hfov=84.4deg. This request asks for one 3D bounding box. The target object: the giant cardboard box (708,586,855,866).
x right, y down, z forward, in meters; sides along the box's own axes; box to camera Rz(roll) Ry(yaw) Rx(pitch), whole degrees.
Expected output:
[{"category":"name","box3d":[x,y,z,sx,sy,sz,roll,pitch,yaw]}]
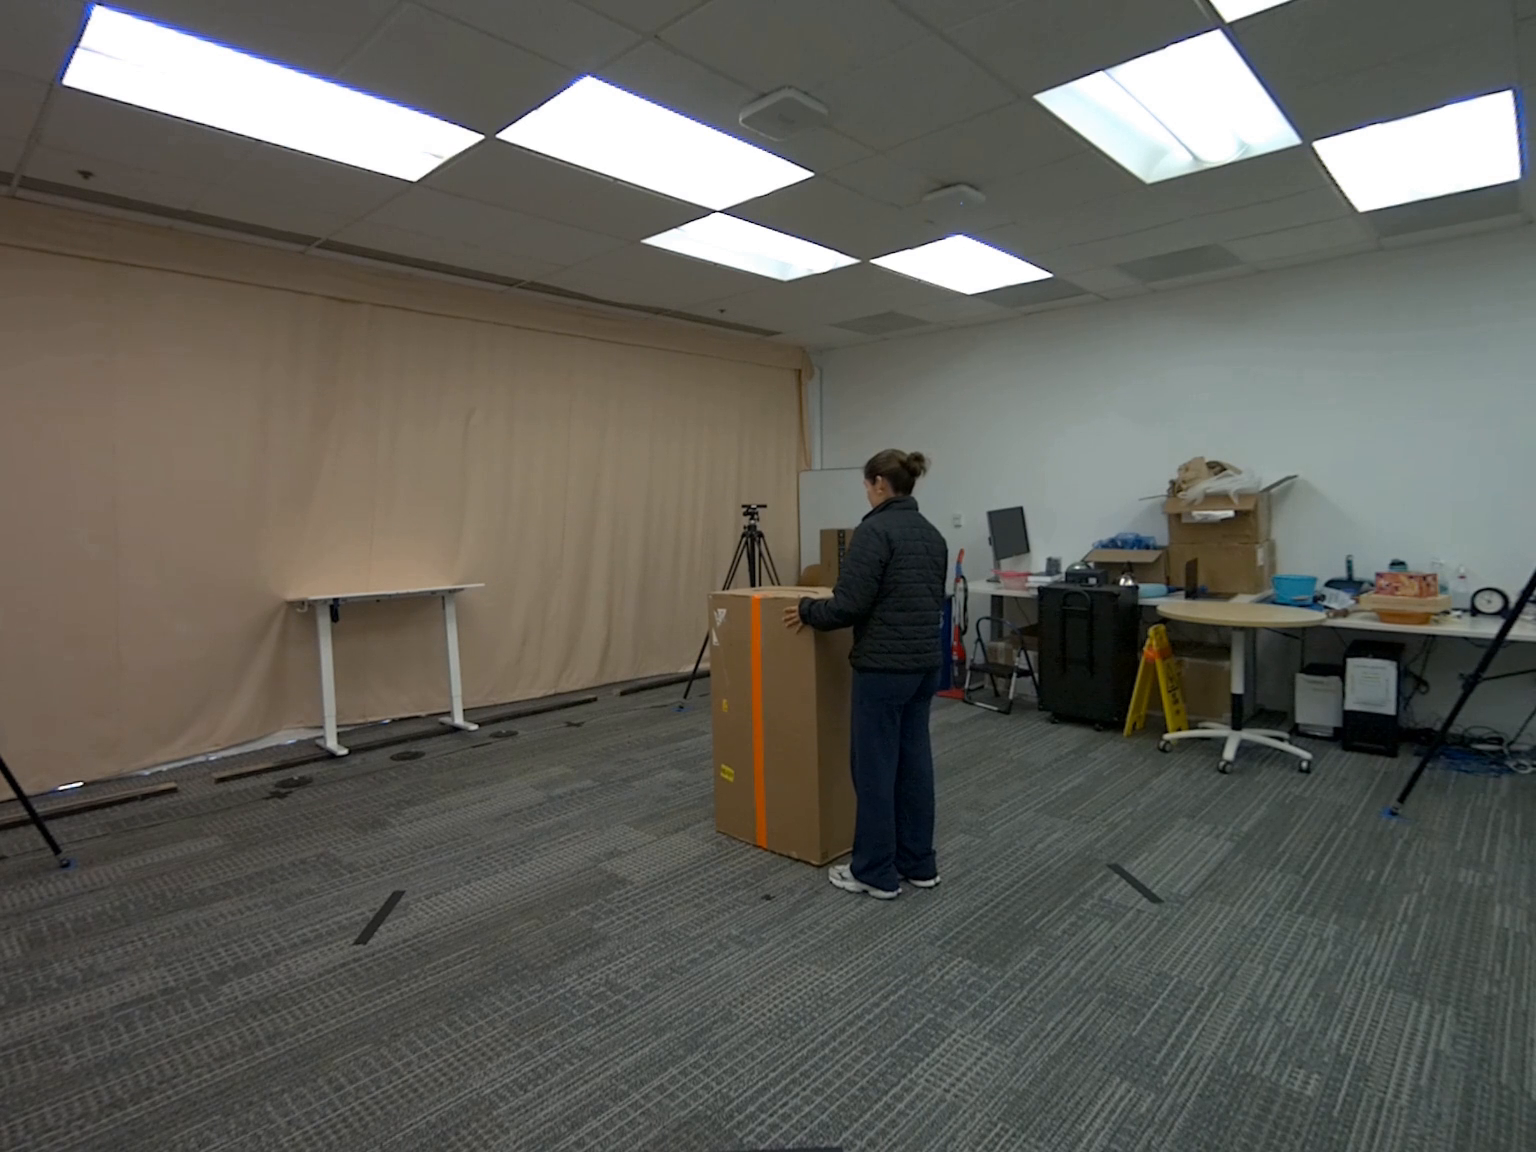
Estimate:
[{"category":"giant cardboard box","box3d":[0.115,0.578,3.539,0.596,1.025,0.413,0,2,44]}]
